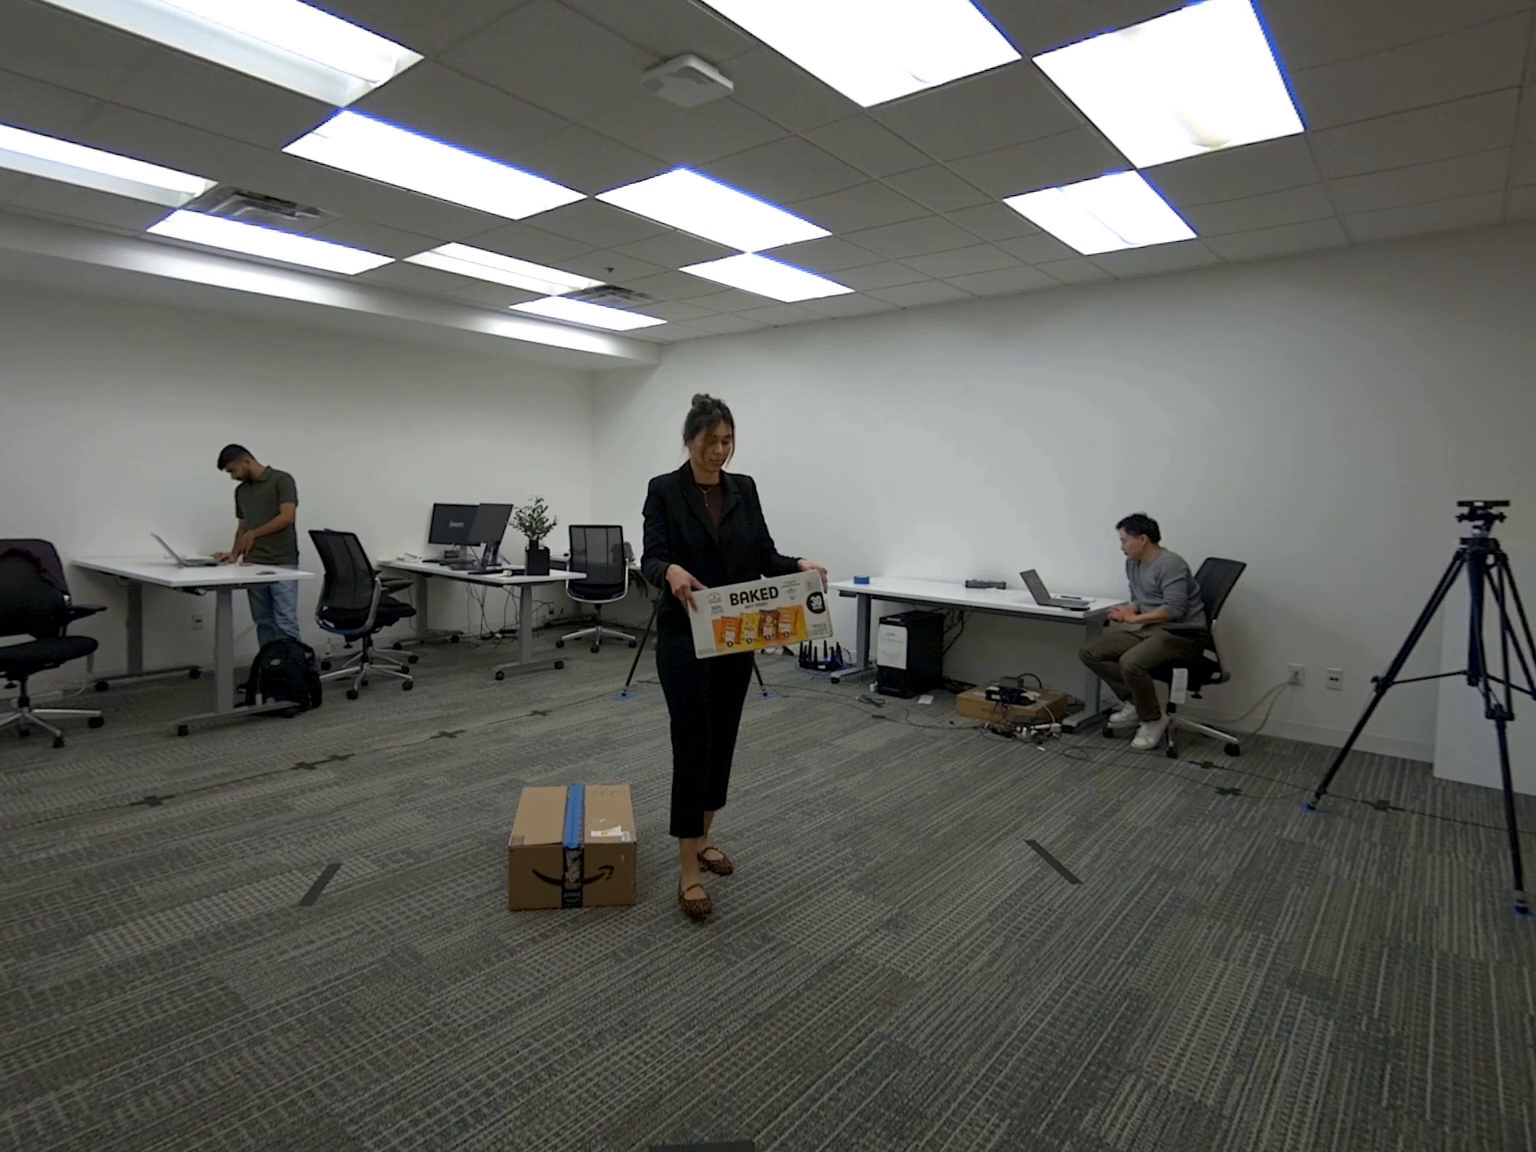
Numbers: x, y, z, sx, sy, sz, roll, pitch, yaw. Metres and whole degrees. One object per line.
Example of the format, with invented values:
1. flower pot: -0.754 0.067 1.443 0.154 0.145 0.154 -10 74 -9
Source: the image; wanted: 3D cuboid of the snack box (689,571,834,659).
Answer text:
1. snack box: -0.030 0.121 2.683 0.407 0.207 0.336 -10 -5 6
